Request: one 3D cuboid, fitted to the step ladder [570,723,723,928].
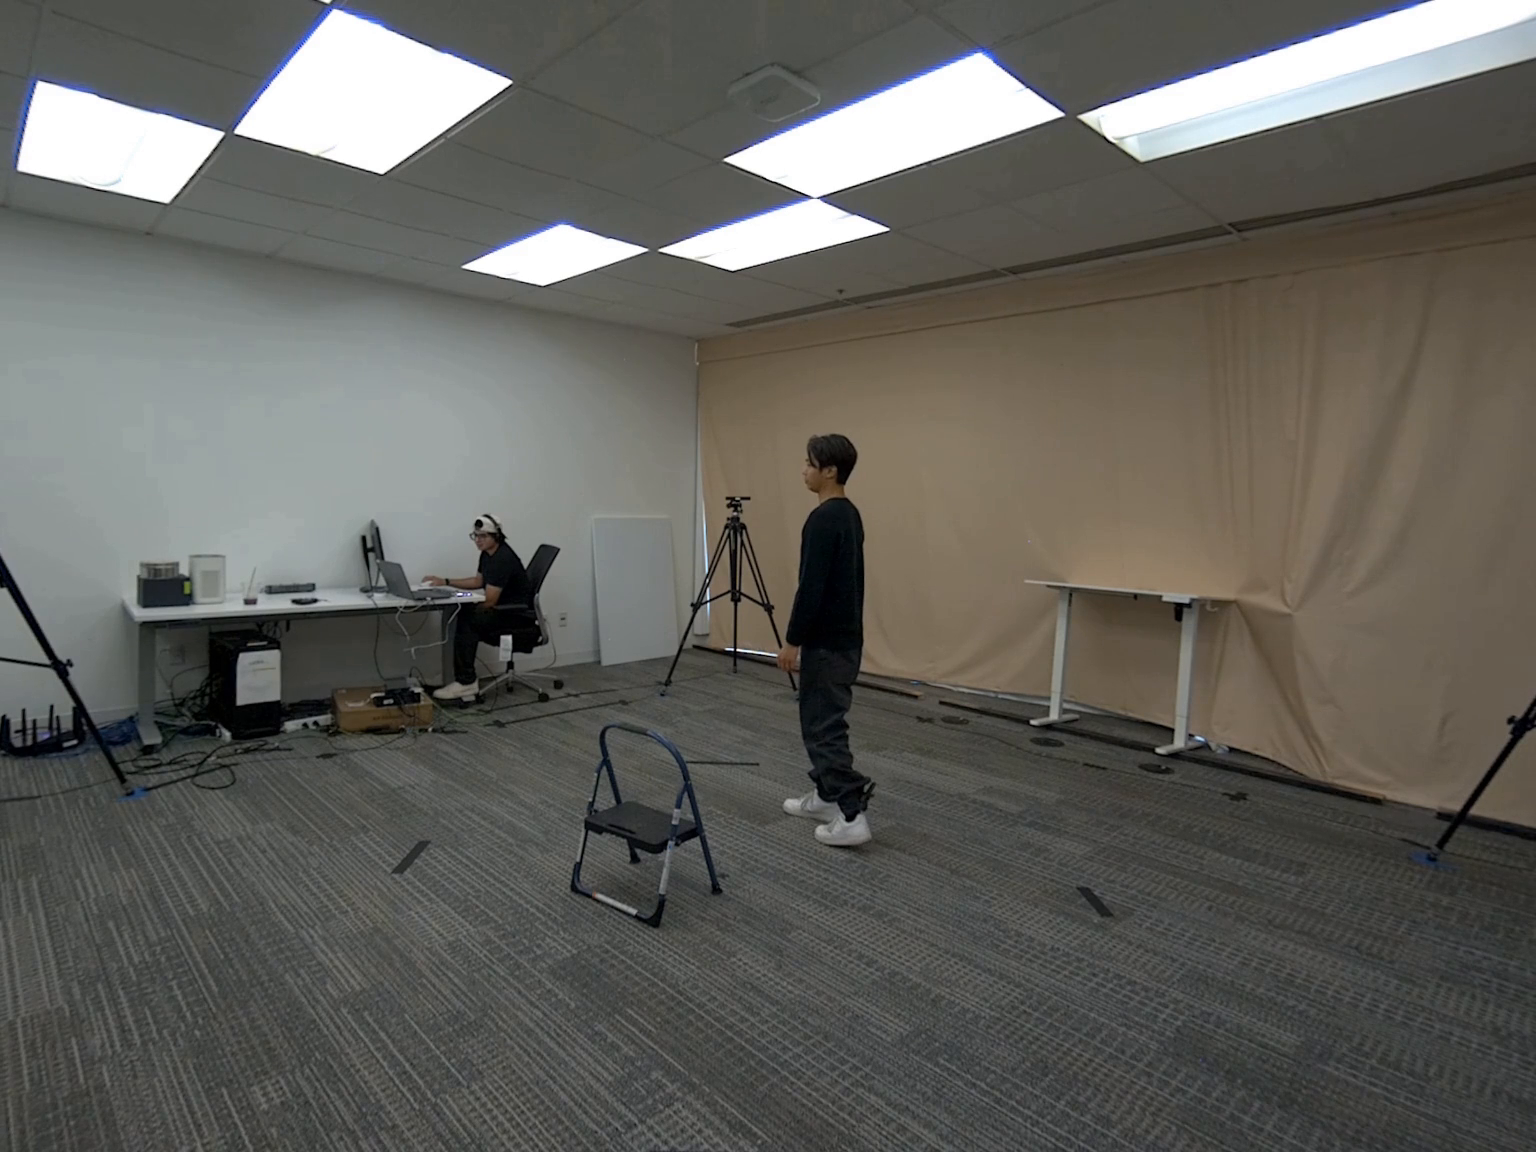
[{"bbox_3d":[-0.434,0.812,2.950,0.441,0.604,0.342,4,4,36],"label":"step ladder"}]
